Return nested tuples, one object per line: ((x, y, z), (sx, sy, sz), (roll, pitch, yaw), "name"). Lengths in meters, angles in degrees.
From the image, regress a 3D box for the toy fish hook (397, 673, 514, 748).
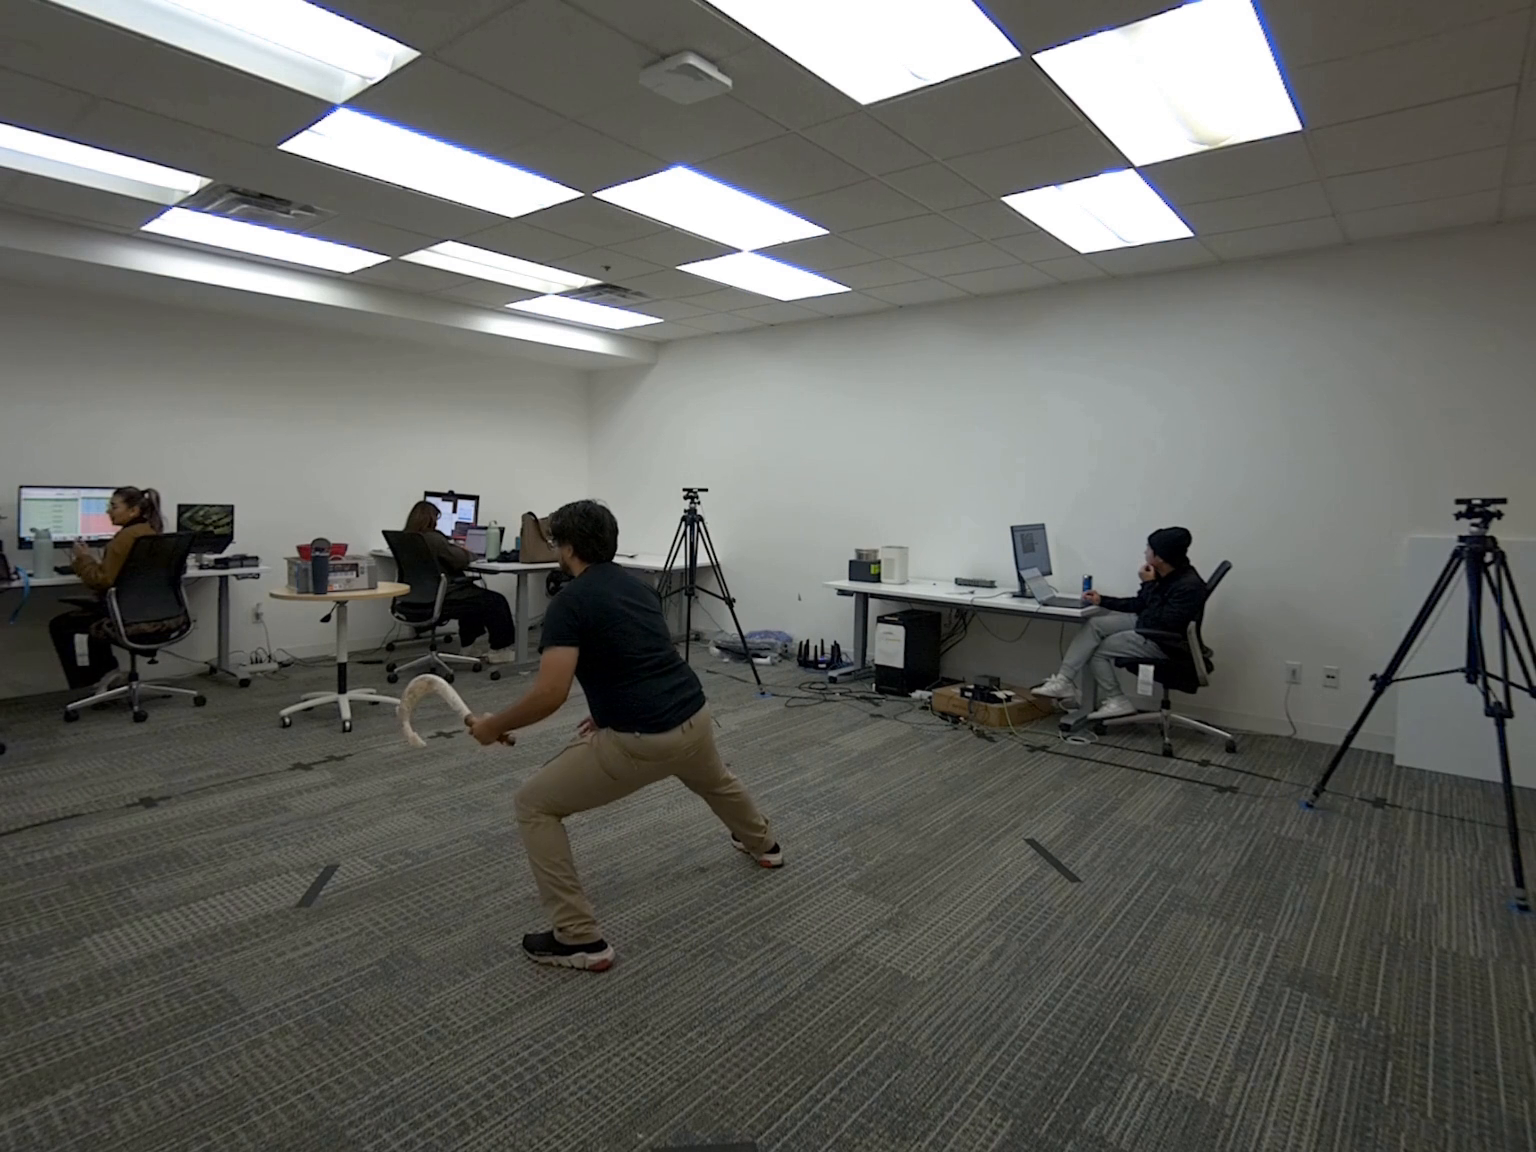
((-1.025, 0.485, 2.739), (0.524, 0.225, 0.046), (19, -6, 30), "toy fish hook")
